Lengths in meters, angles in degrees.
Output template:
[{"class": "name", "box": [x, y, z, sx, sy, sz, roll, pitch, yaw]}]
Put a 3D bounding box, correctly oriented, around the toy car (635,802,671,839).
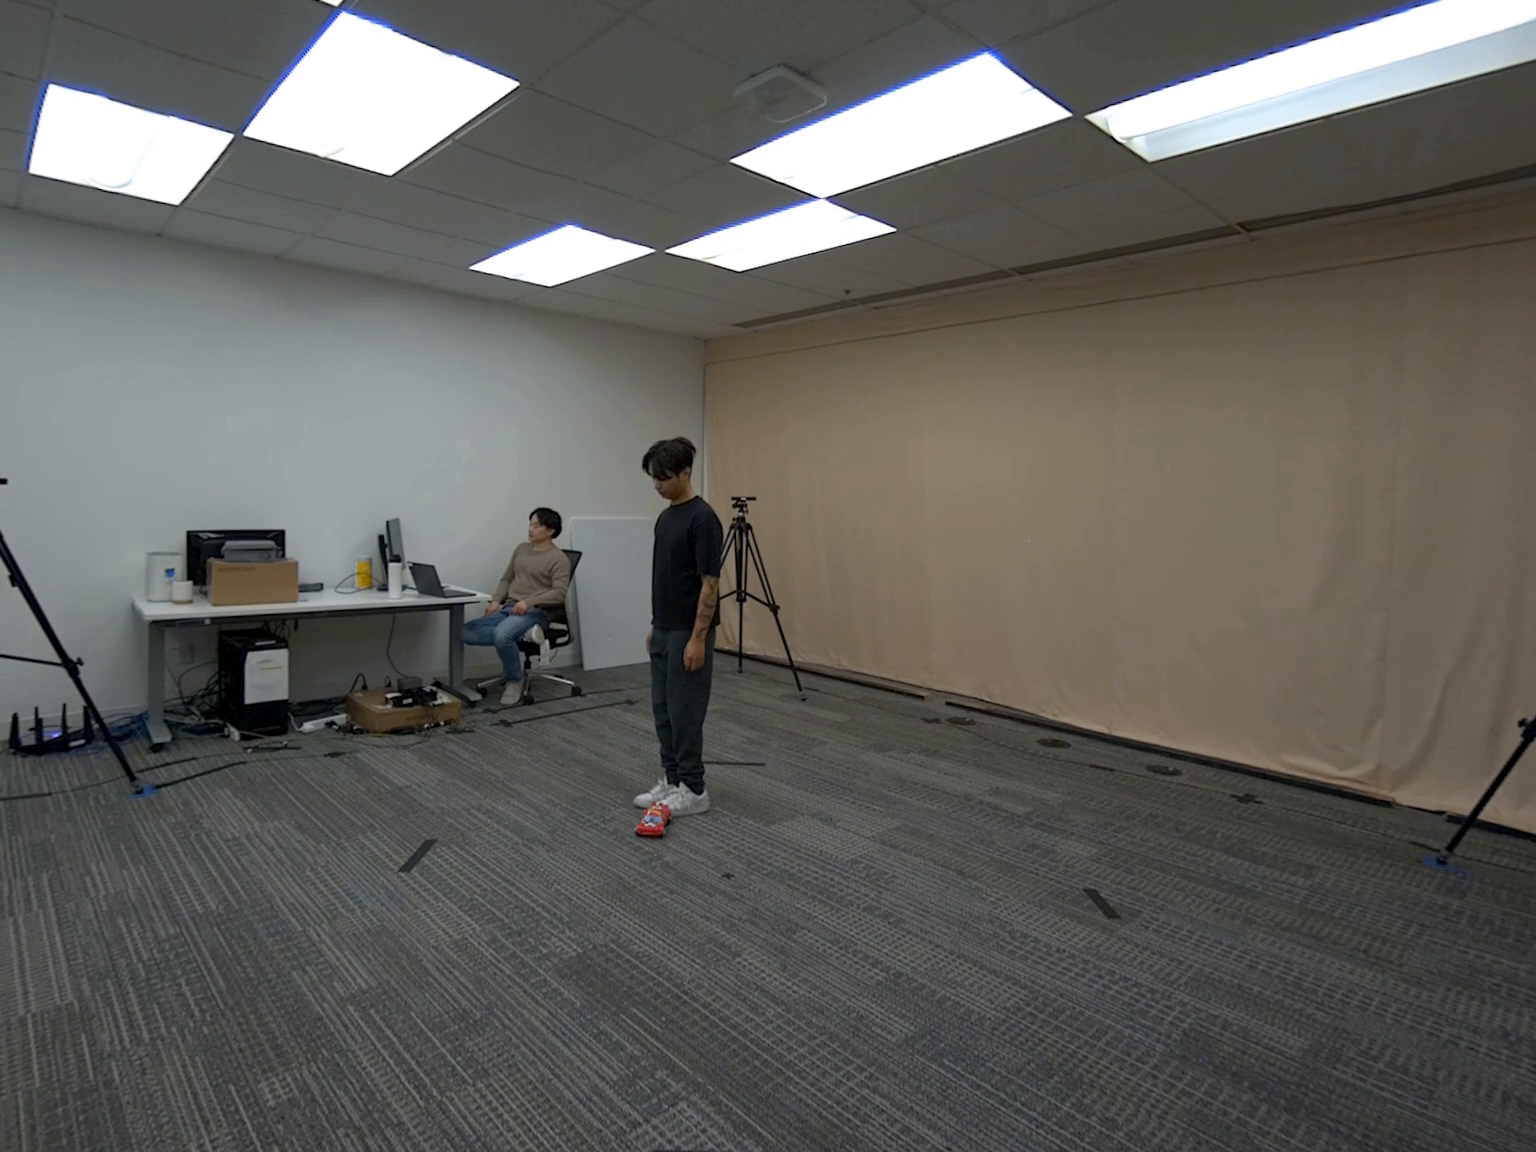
[{"class": "toy car", "box": [-0.493, 1.032, 3.544, 0.131, 0.082, 0.256, 1, 16, 3]}]
